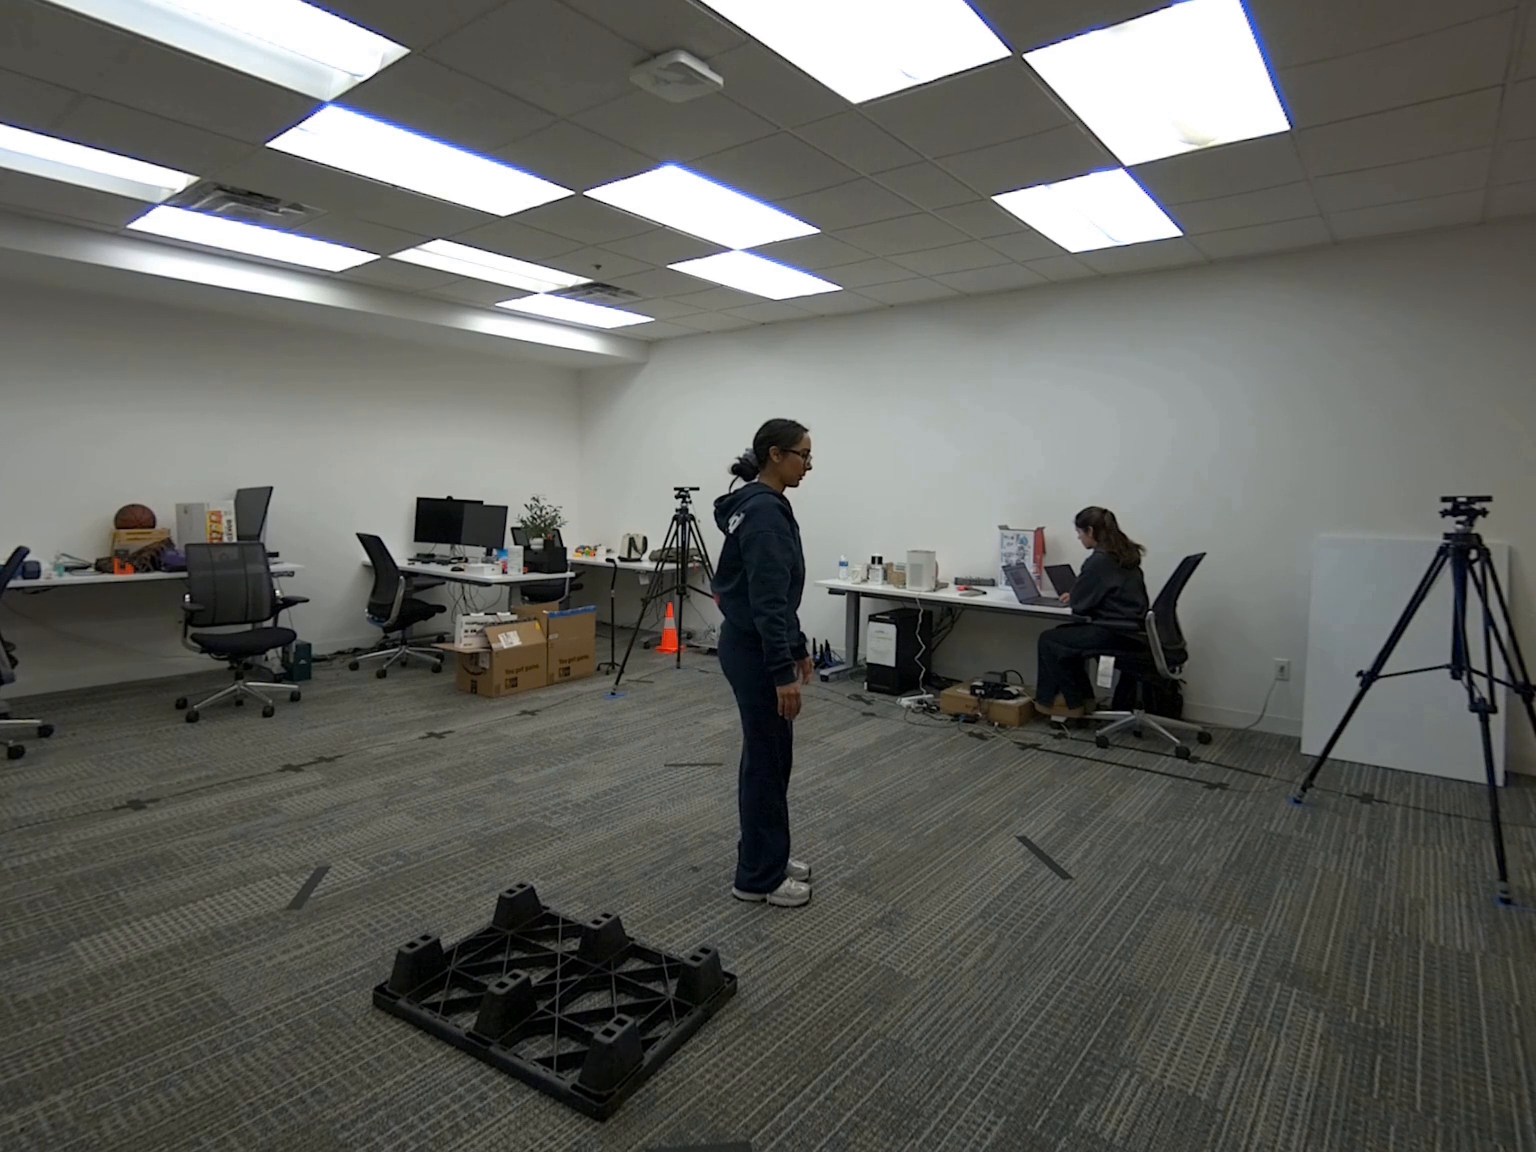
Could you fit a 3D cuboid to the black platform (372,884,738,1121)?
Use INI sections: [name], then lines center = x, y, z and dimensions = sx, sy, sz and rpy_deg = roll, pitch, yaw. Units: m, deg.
[black platform]
center = -0.574, 1.076, 2.314
dimensions = 0.829, 0.143, 0.590
rpy_deg = 4, 7, 30
